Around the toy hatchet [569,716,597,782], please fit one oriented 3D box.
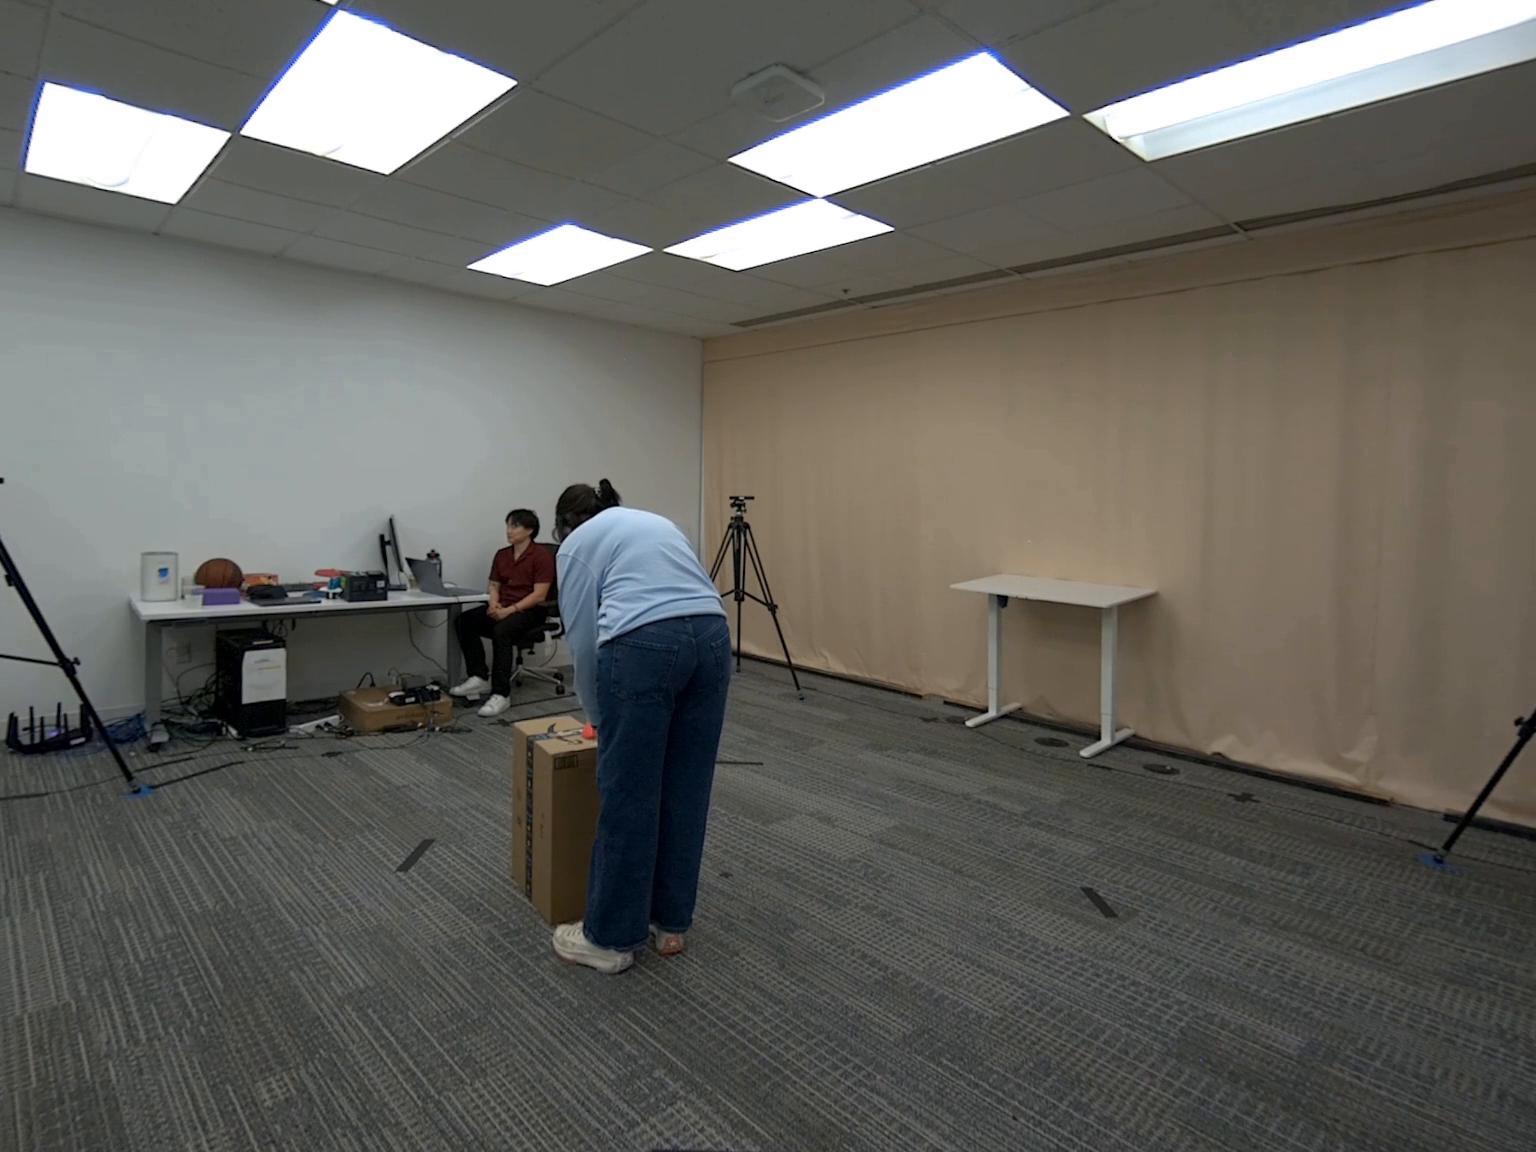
[{"bbox_3d":[-0.586,0.549,2.801,0.131,0.029,0.277,-34,29,-1],"label":"toy hatchet"}]
